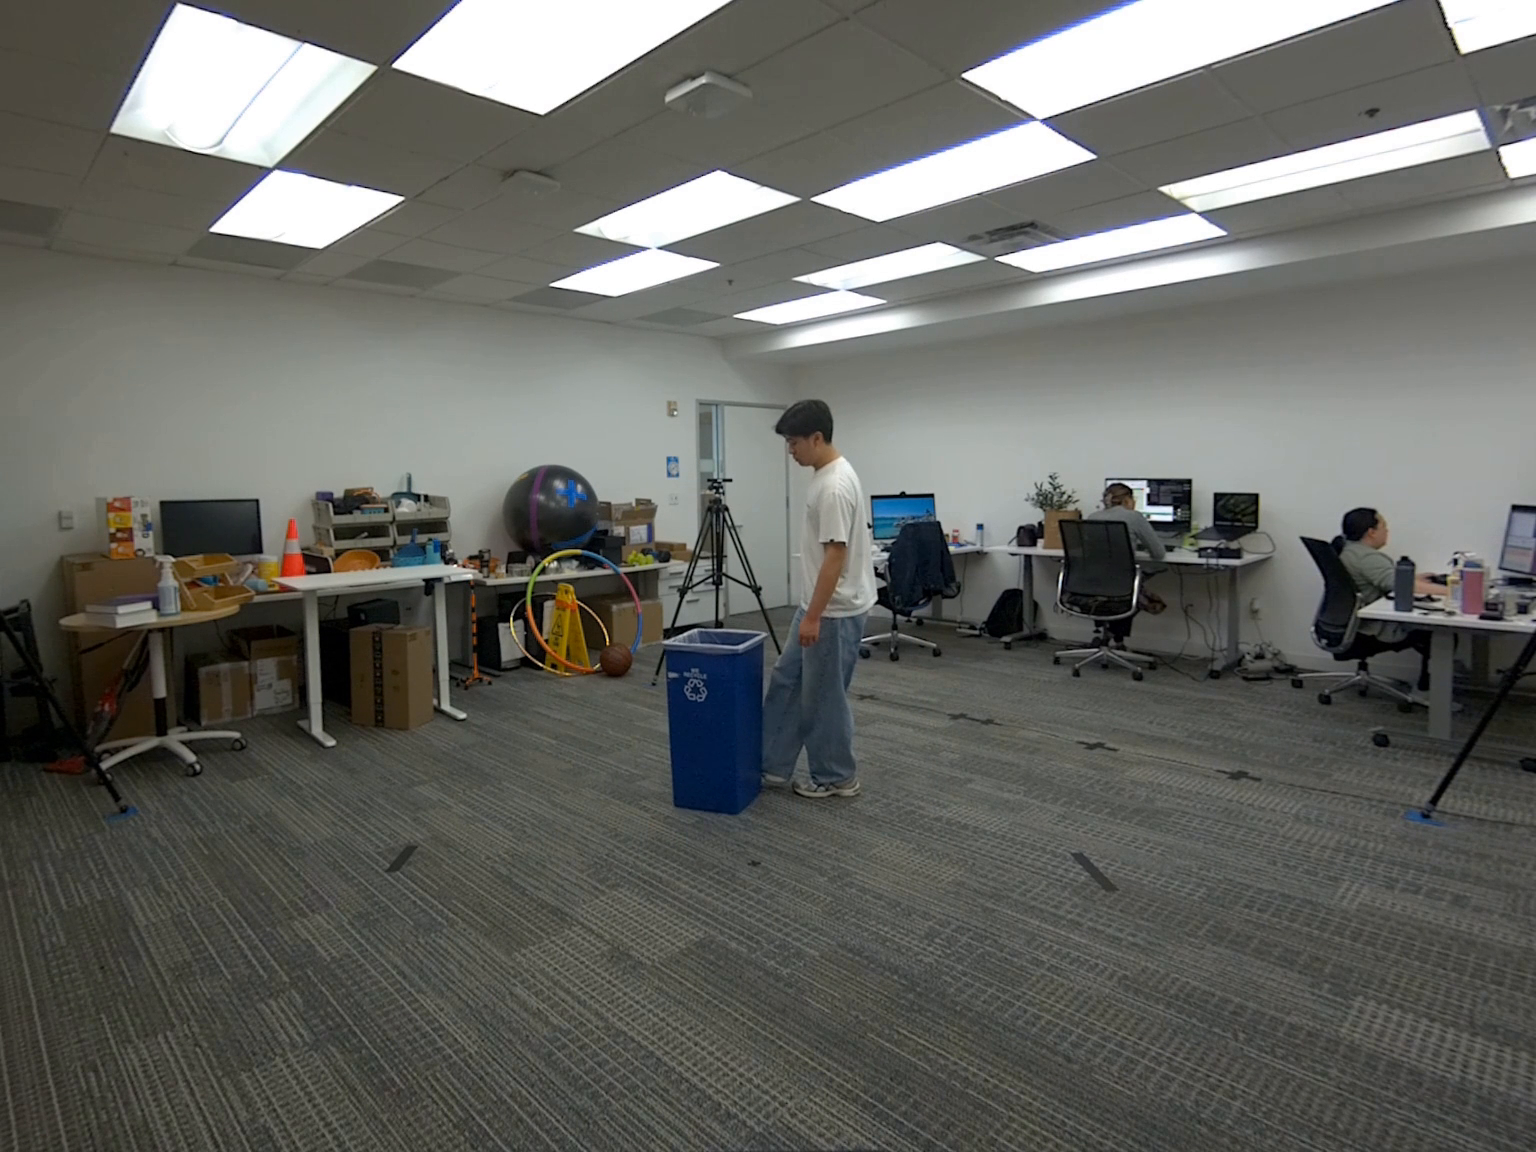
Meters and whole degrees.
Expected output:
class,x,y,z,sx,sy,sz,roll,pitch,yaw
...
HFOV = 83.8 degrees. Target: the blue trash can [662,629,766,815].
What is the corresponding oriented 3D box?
class,x,y,z,sx,sy,sz,roll,pitch,yaw
blue trash can,-0.218,0.620,3.718,0.382,0.711,0.372,0,4,21
